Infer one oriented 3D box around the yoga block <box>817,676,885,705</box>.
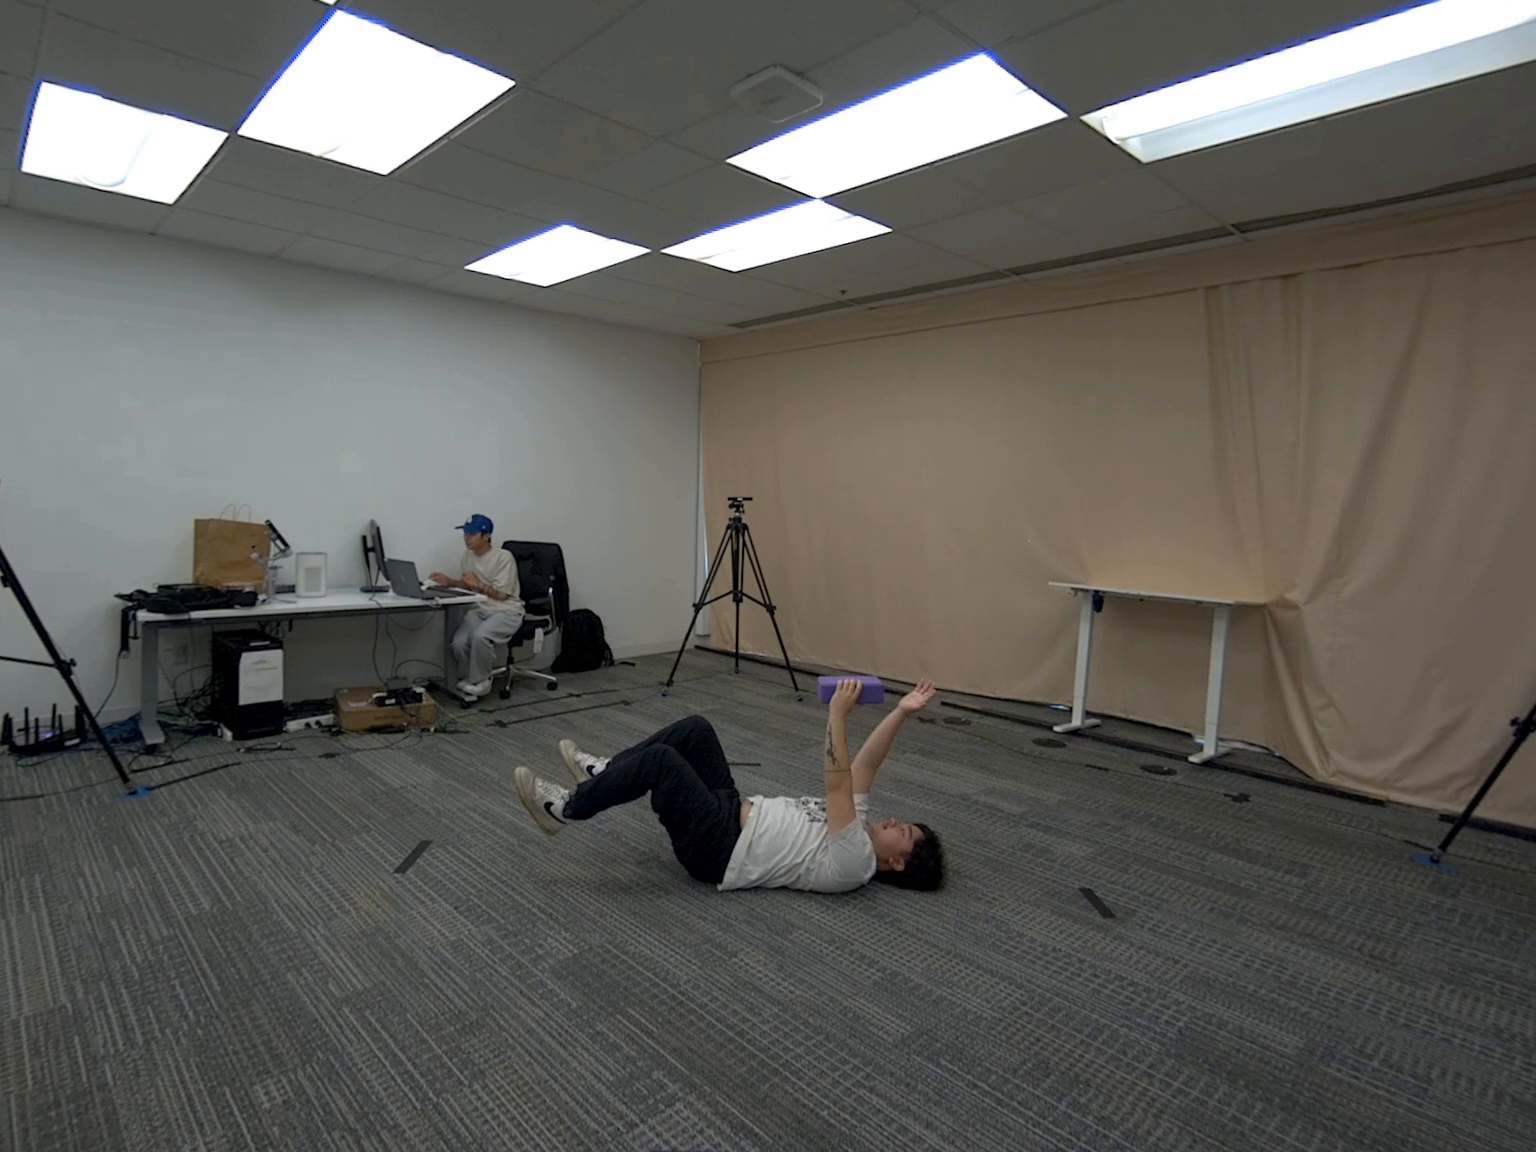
[{"bbox_3d":[0.306,0.425,3.116,0.229,0.076,0.149,-1,3,-1],"label":"yoga block"}]
